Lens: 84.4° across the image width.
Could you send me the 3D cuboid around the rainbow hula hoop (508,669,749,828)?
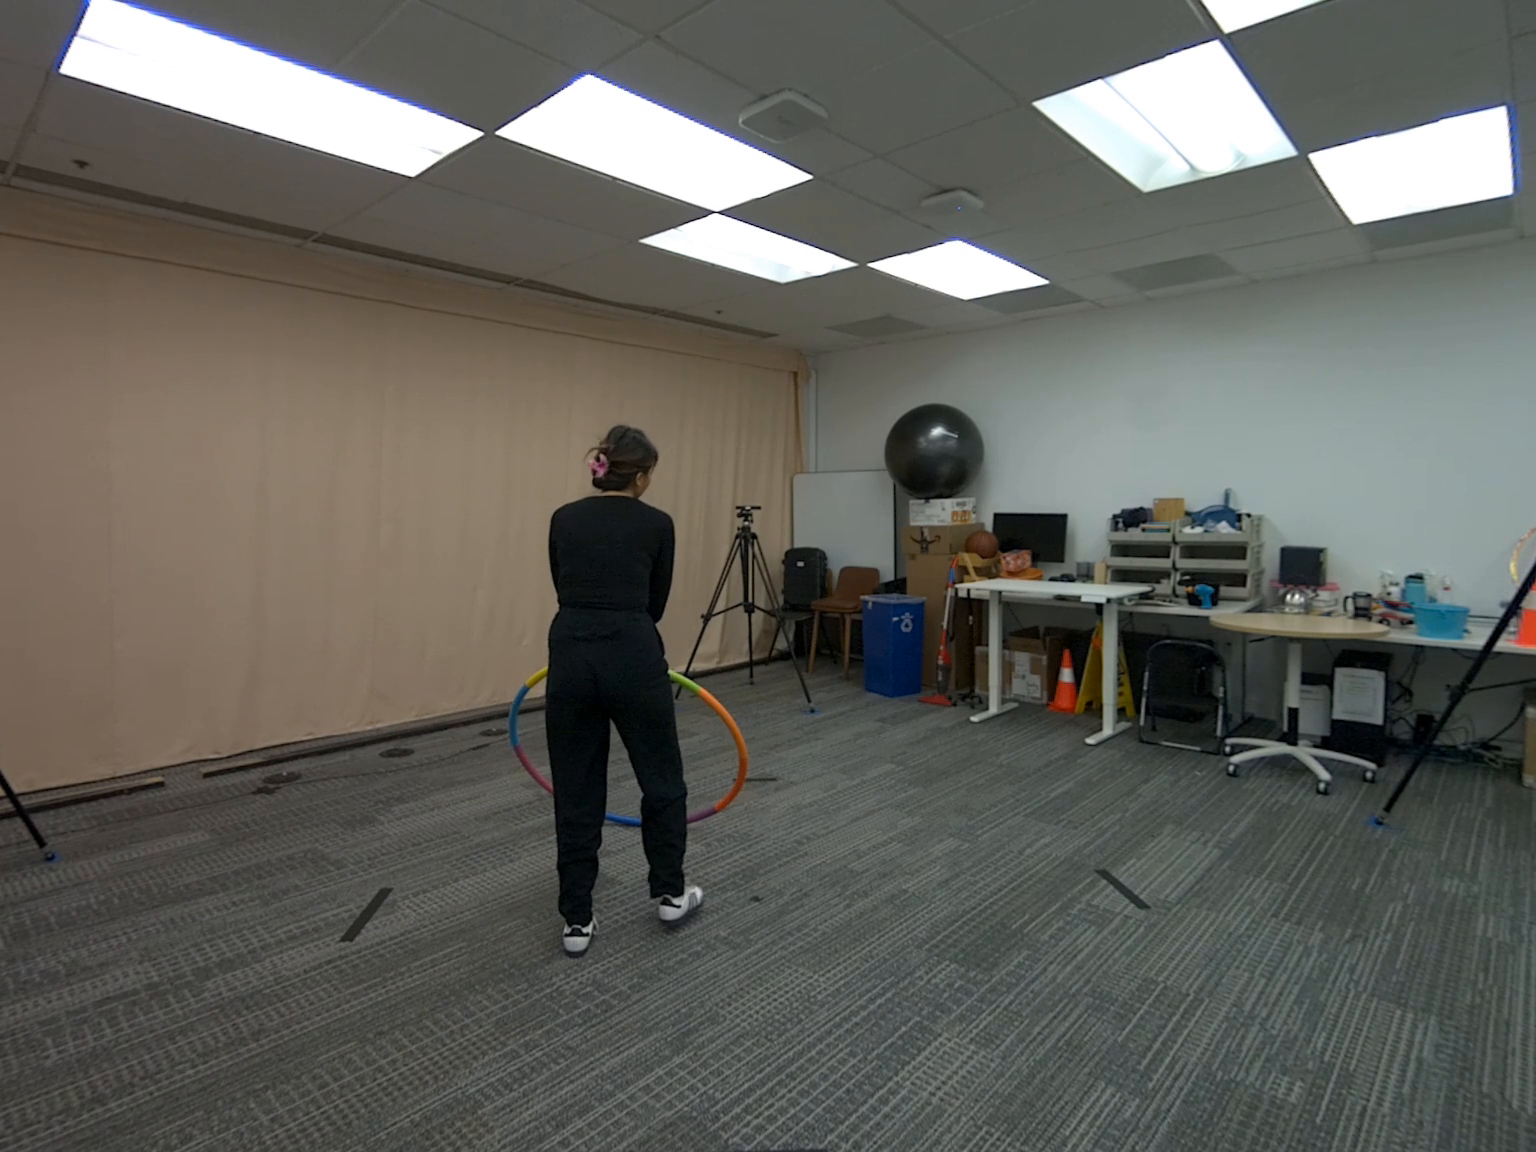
[{"bbox_3d":[-0.573,0.707,3.417,0.990,0.958,0.036,2,36,11],"label":"rainbow hula hoop"}]
